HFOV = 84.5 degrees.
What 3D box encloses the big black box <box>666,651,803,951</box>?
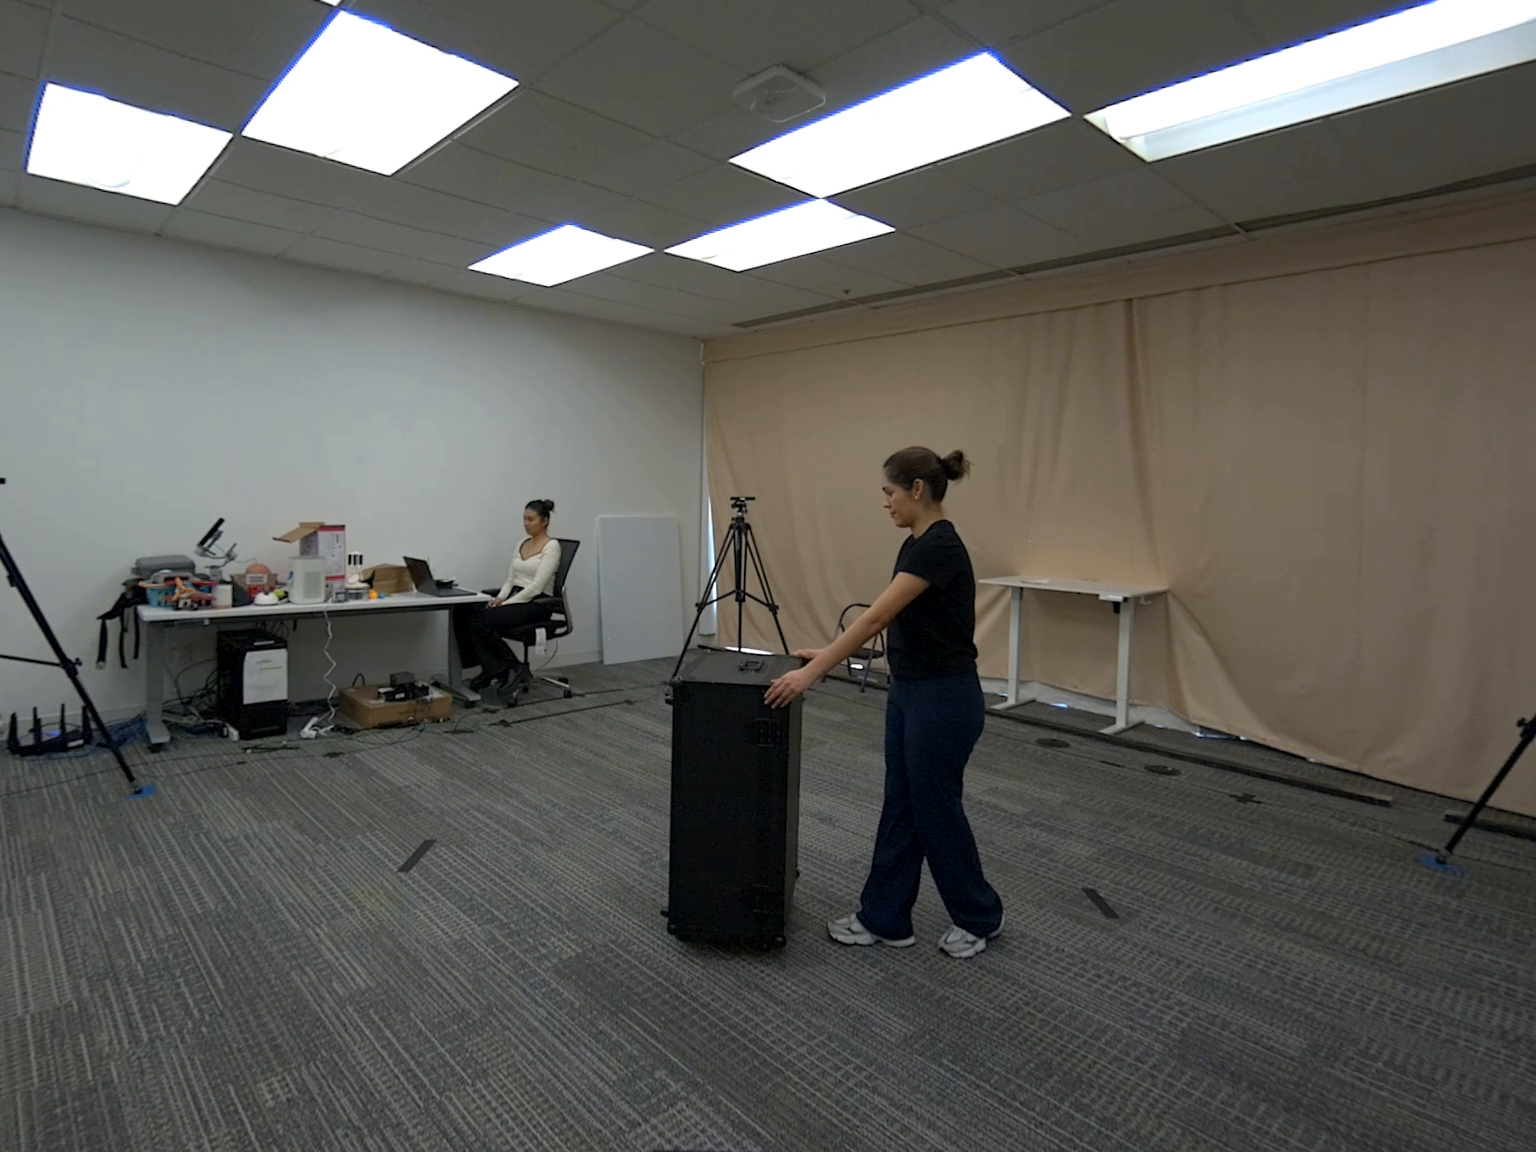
[{"bbox_3d":[-0.101,0.717,2.716,0.399,0.859,0.519,1,3,8],"label":"big black box"}]
